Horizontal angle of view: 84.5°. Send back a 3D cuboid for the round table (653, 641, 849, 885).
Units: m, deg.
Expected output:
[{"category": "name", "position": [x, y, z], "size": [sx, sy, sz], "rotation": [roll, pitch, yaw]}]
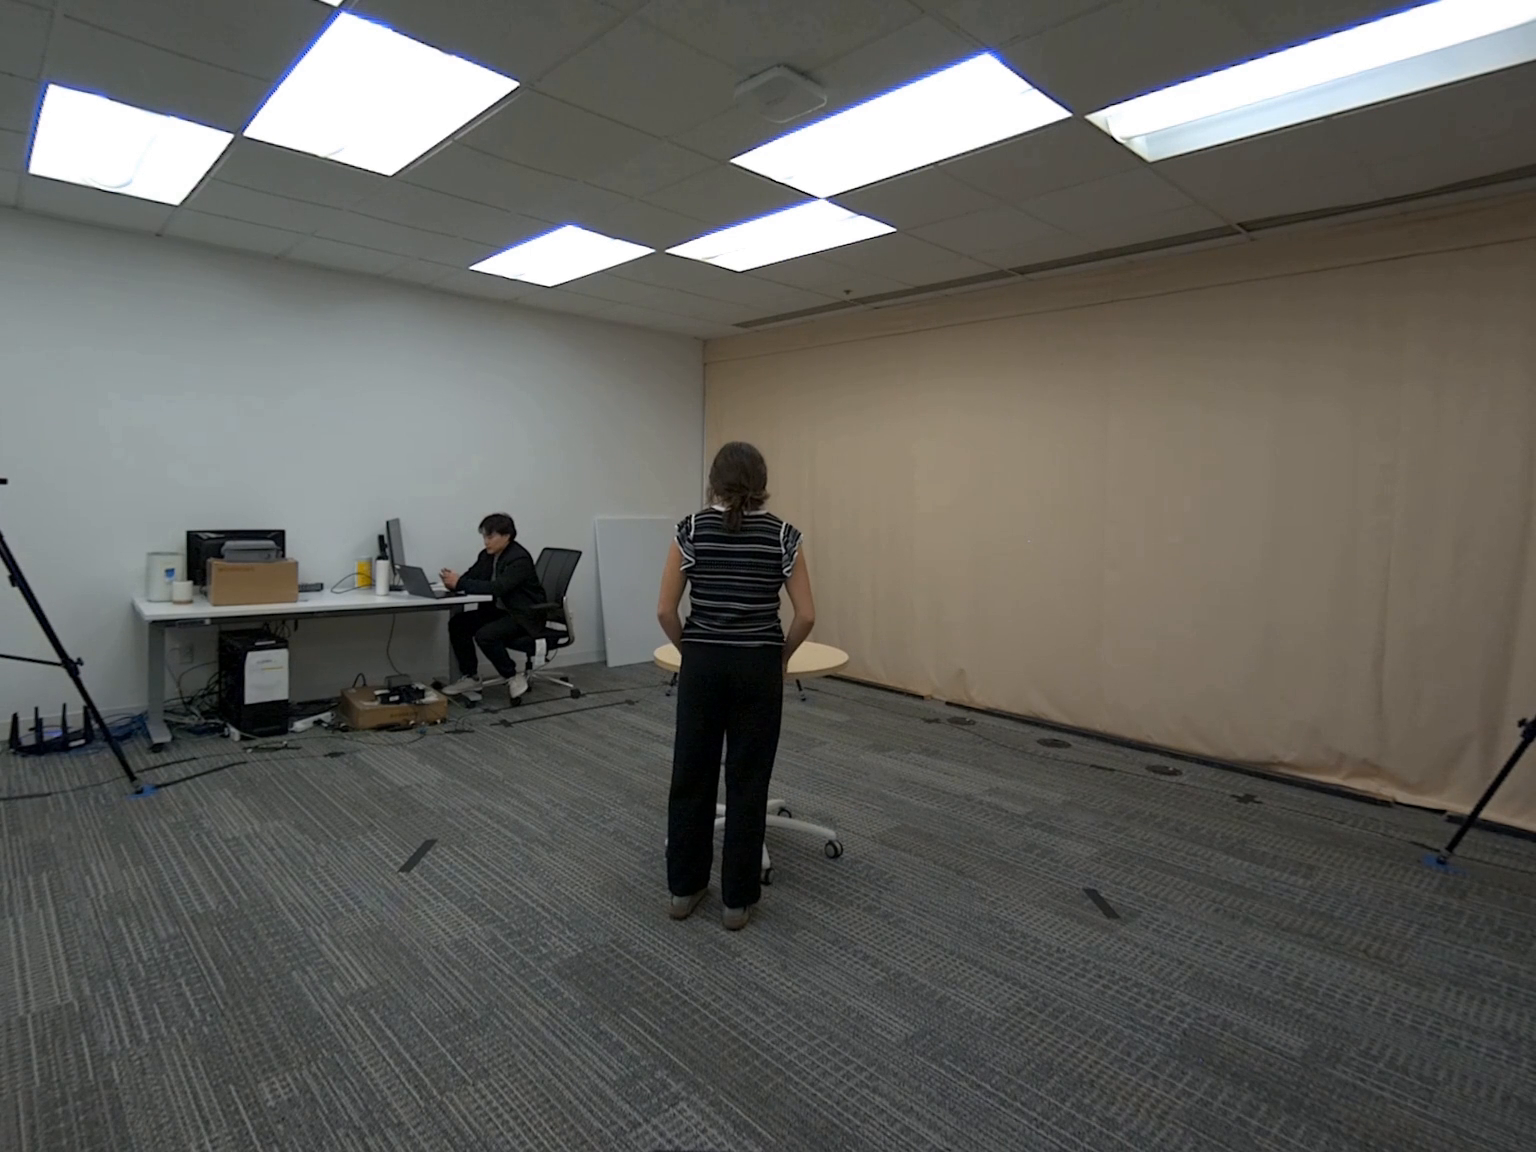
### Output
[{"category": "round table", "position": [-0.076, 0.697, 3.333], "size": [0.784, 0.785, 0.787], "rotation": [1, 4, -1]}]
